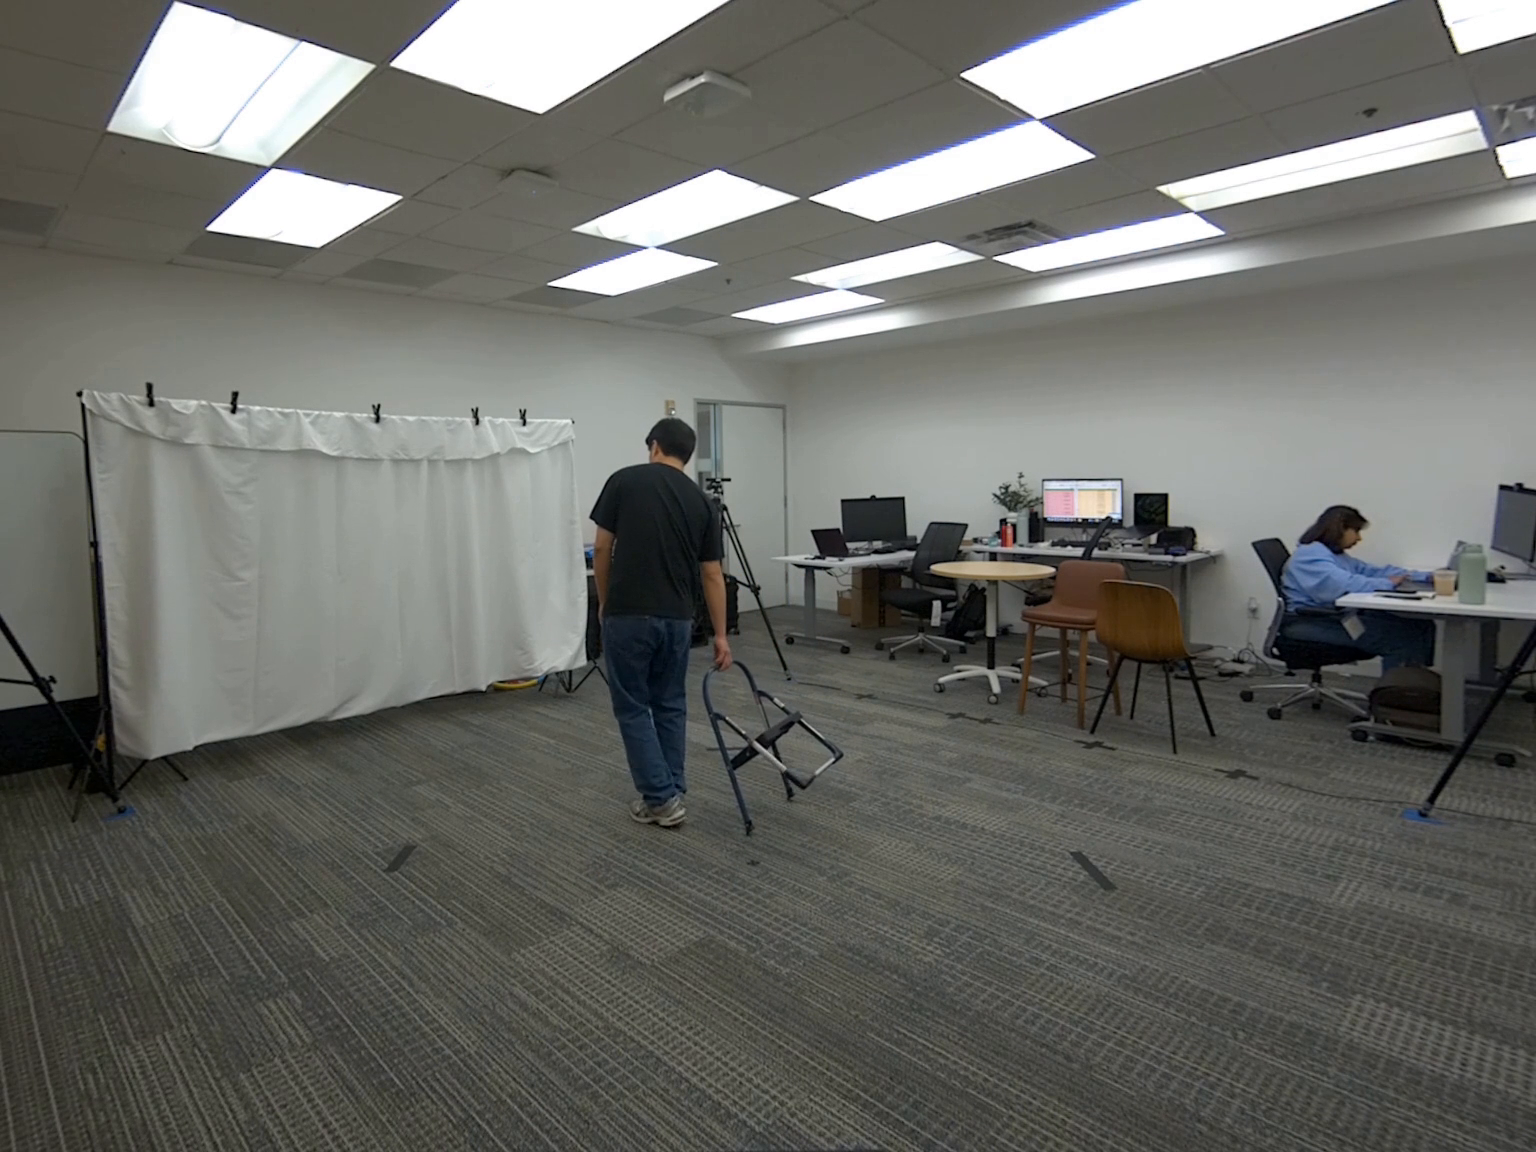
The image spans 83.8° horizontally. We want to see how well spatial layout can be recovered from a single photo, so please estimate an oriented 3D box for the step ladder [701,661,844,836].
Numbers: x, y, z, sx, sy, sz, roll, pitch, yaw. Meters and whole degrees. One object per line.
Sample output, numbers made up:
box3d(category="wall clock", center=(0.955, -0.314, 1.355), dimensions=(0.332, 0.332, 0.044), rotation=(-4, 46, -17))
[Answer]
box3d(category="step ladder", center=(-0.067, 0.647, 3.539), dimensions=(0.349, 0.618, 0.422), rotation=(-45, -16, 24))
